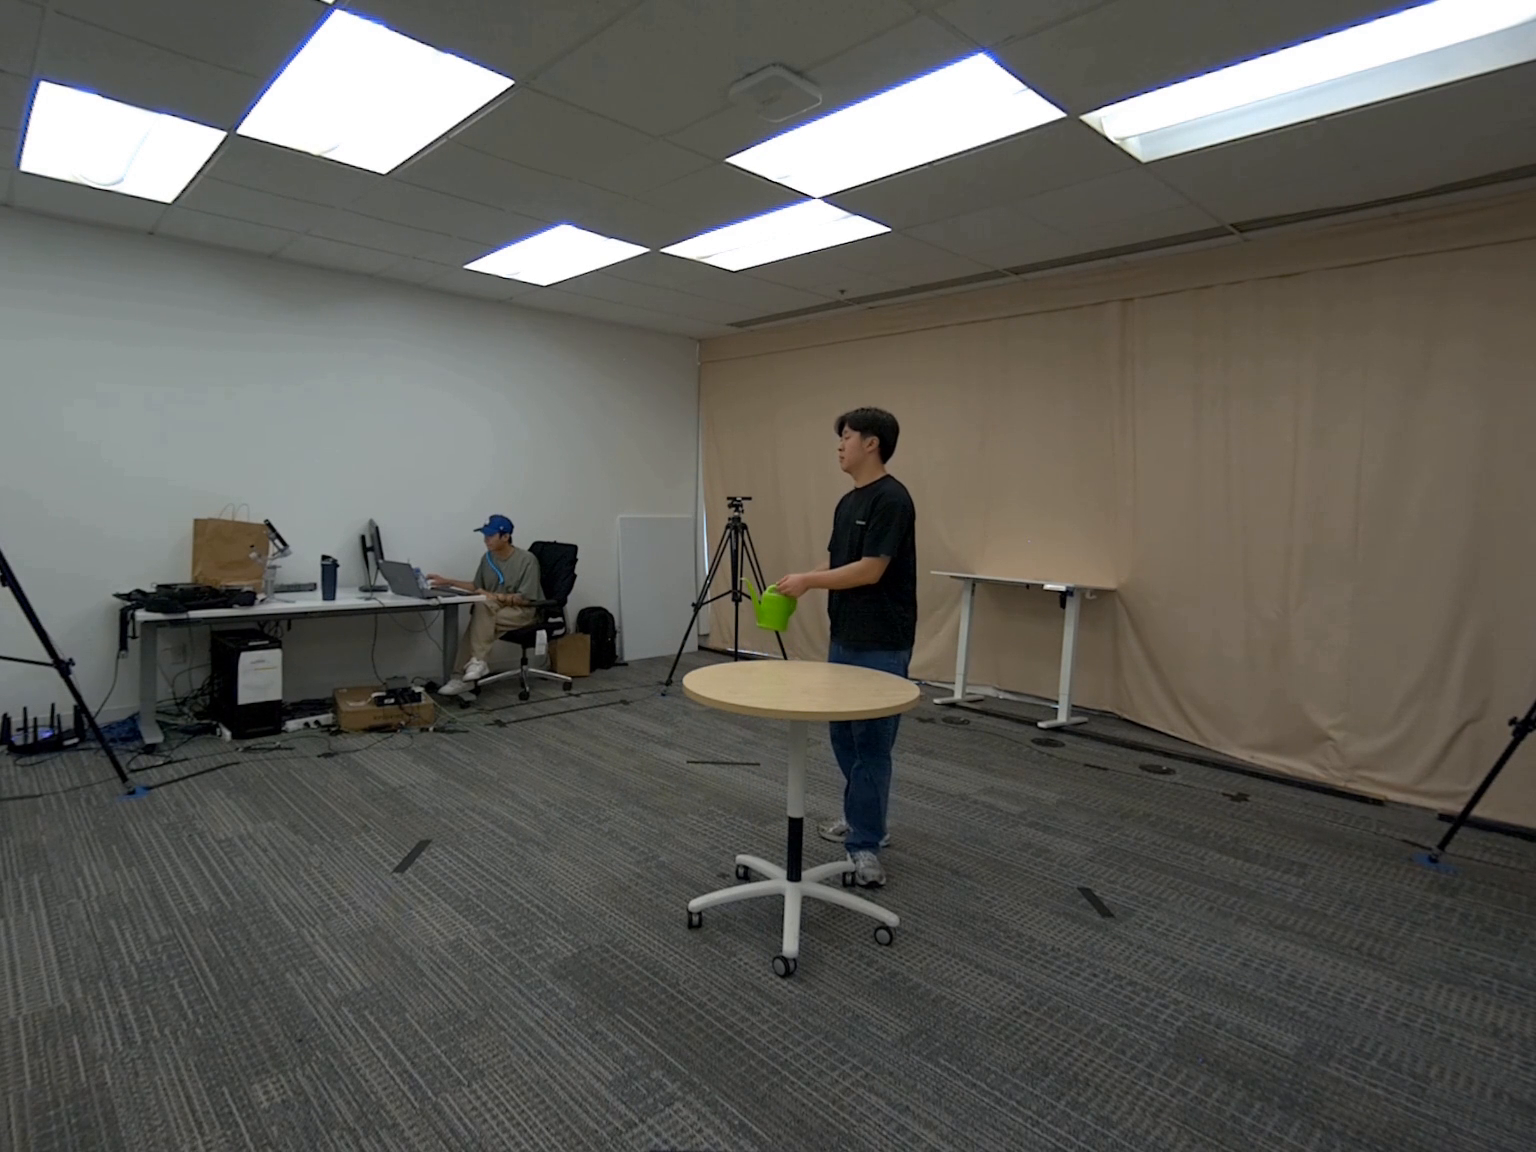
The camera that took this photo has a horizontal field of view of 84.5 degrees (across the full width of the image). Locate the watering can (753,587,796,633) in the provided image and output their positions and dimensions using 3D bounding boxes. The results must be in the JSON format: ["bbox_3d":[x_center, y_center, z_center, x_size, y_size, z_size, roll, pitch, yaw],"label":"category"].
[{"bbox_3d":[-0.010,0.113,3.238,0.273,0.177,0.099,13,-2,-19],"label":"watering can"}]
